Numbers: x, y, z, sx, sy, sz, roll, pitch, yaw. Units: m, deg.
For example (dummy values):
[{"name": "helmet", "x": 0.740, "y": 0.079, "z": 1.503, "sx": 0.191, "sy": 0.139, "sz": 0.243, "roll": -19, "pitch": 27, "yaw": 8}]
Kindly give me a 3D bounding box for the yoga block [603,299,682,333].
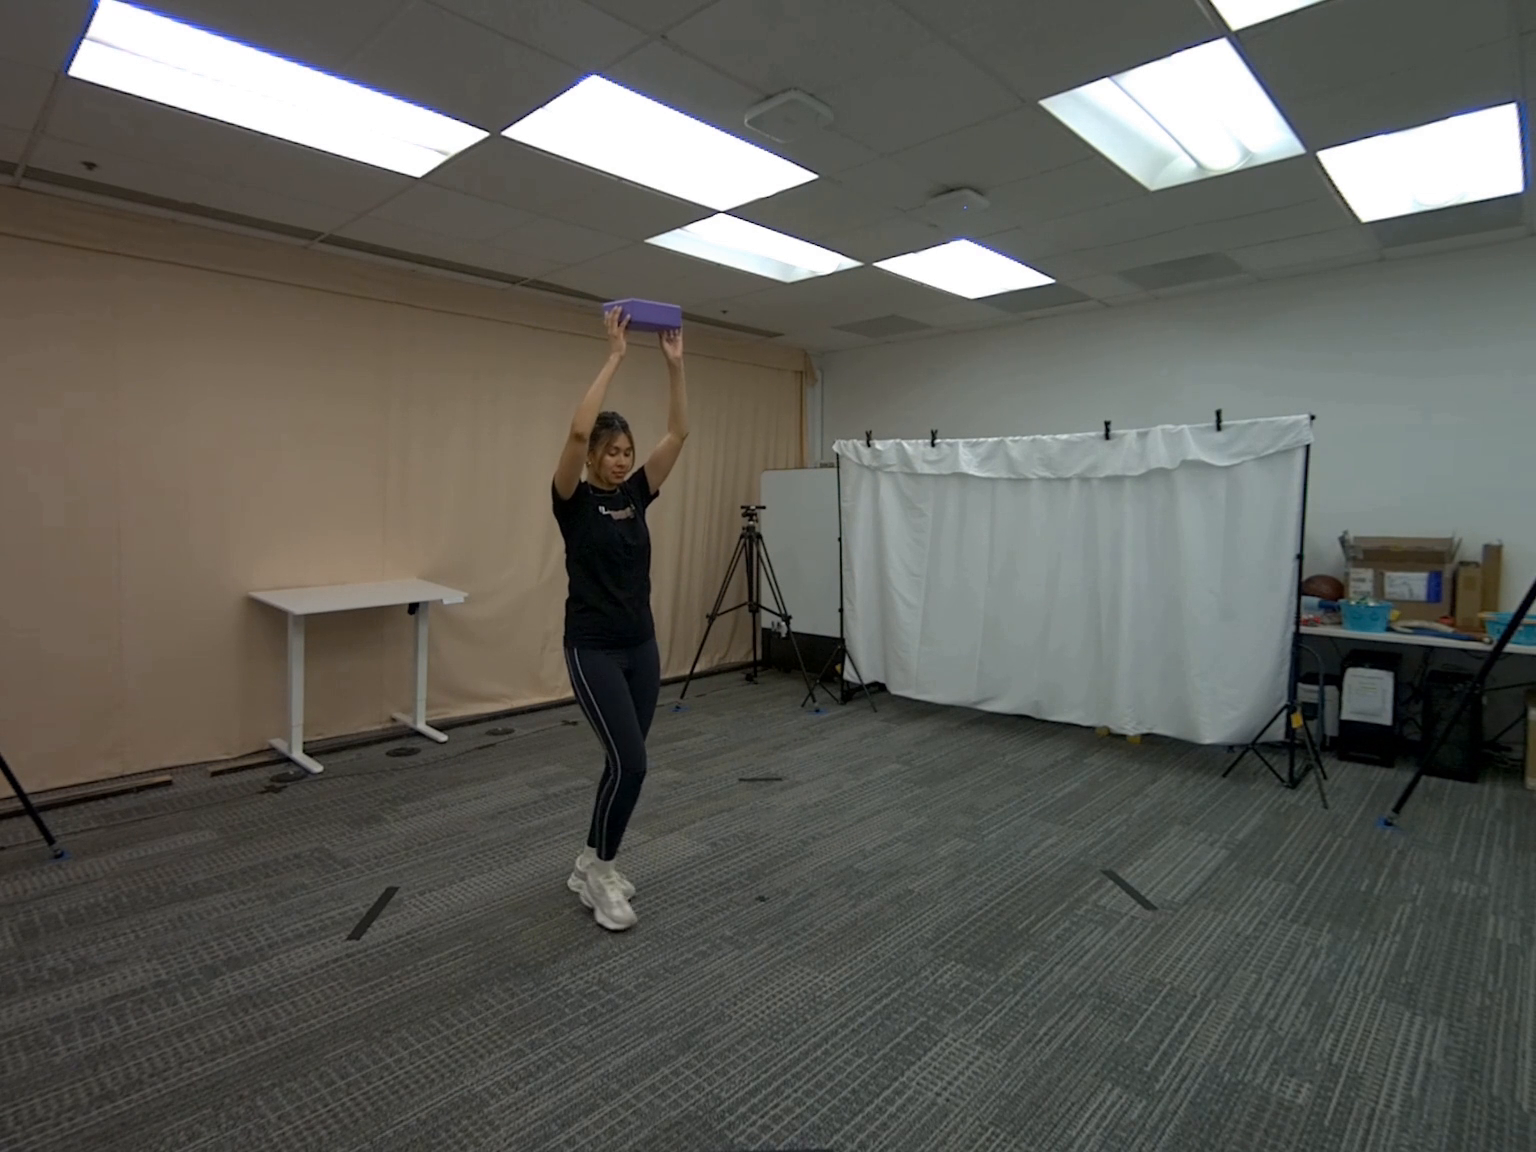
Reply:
[{"name": "yoga block", "x": -0.414, "y": -0.854, "z": 2.748, "sx": 0.154, "sy": 0.076, "sz": 0.223, "roll": 7, "pitch": 12, "yaw": 35}]
